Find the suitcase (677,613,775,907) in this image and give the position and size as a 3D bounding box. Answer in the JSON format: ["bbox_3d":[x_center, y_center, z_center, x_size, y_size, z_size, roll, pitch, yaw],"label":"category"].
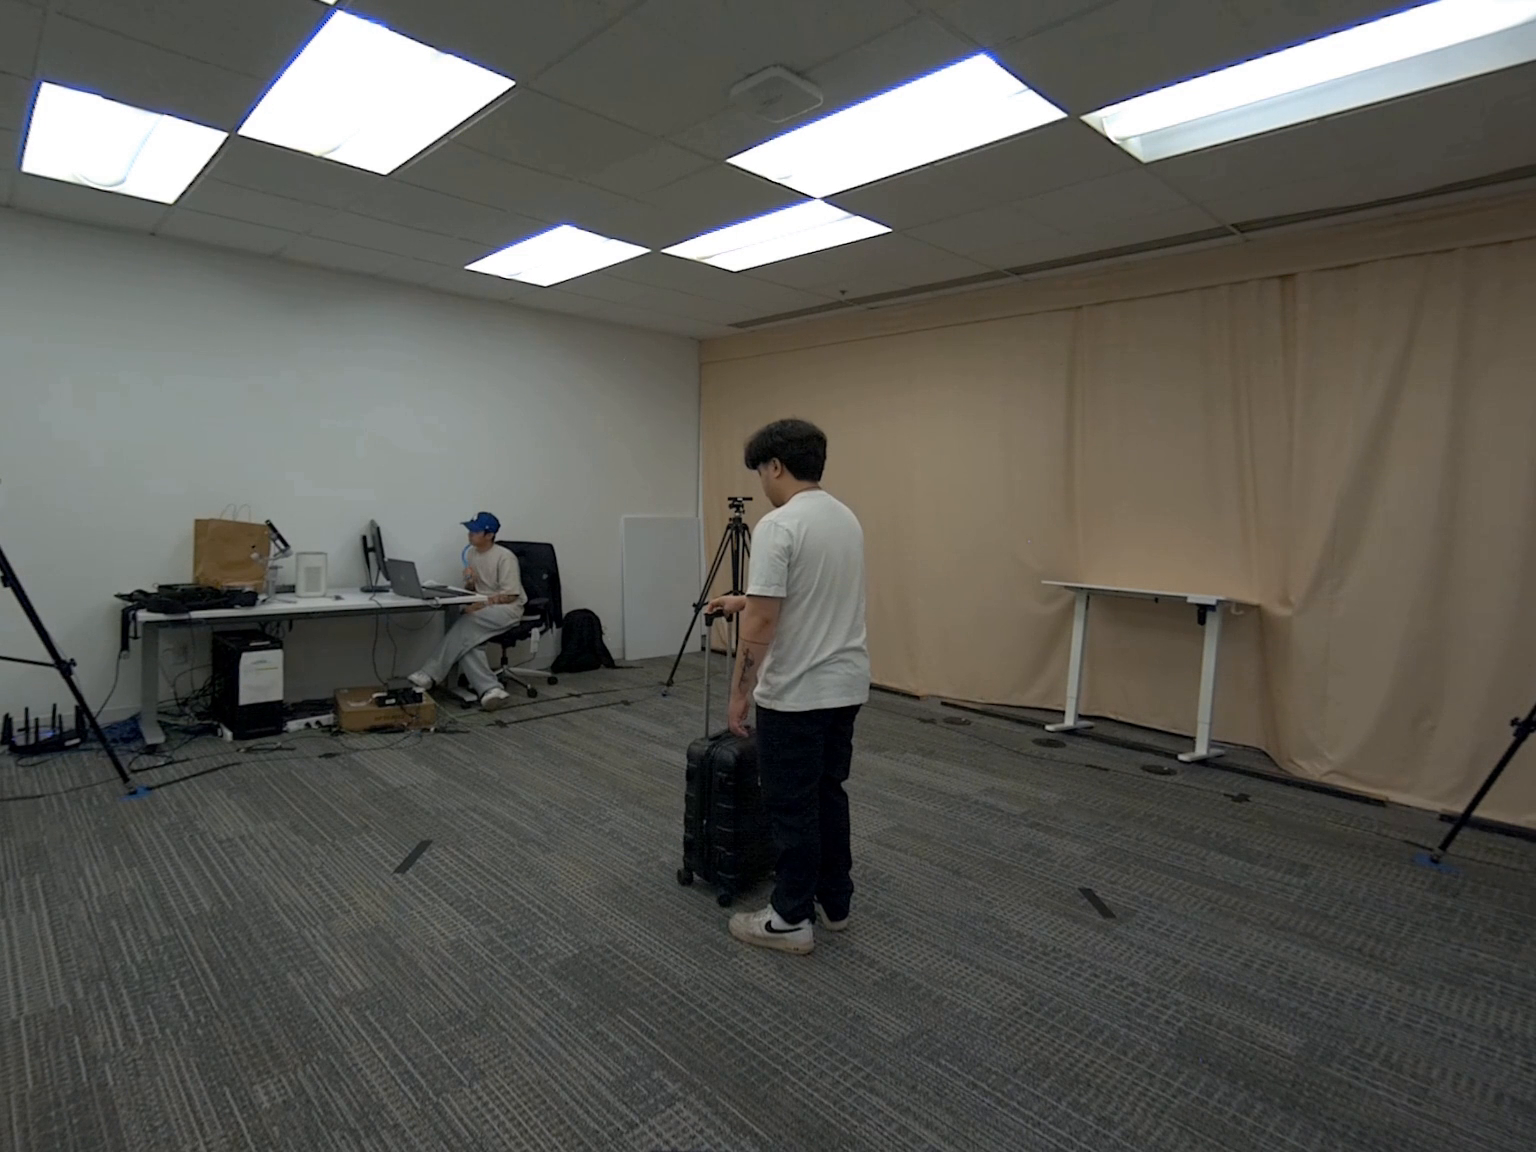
[{"bbox_3d":[-0.109,0.639,3.036,0.263,0.975,0.375,6,6,38],"label":"suitcase"}]
